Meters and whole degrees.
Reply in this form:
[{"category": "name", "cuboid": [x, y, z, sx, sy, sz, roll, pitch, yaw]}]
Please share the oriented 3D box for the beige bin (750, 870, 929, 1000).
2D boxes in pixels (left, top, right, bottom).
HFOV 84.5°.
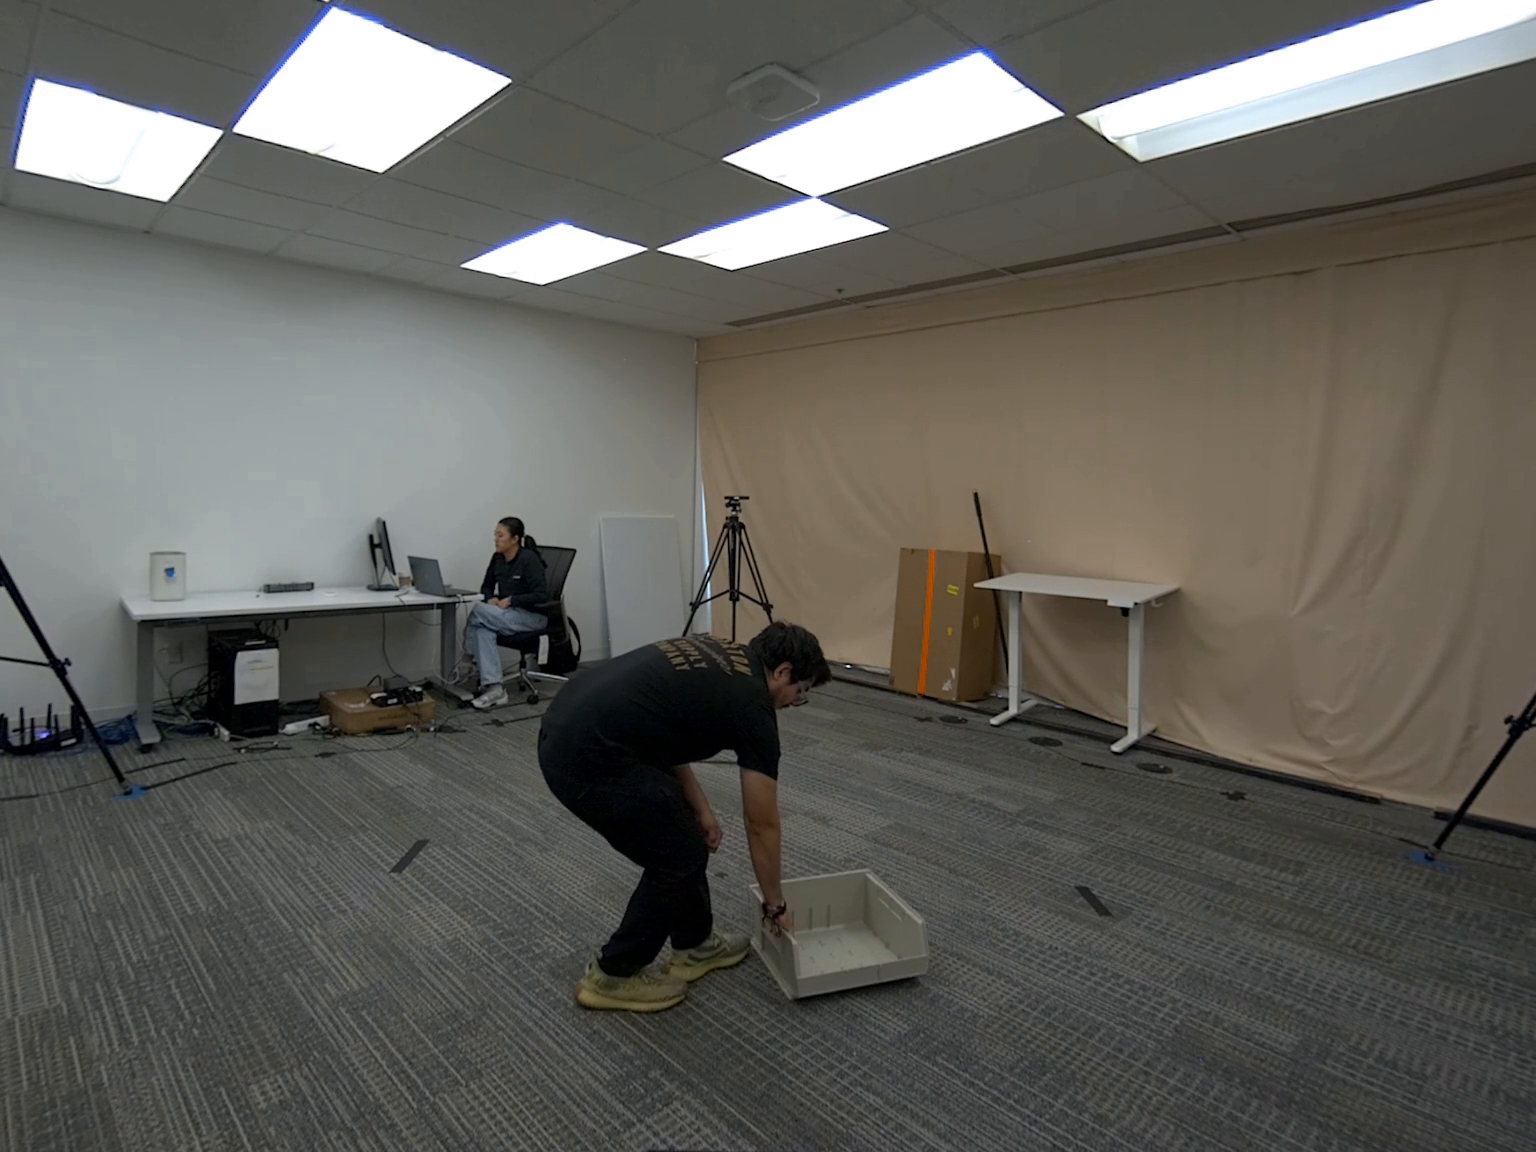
[{"category": "beige bin", "cuboid": [0.202, 1.078, 2.526, 0.416, 0.188, 0.384, -1, 5, -21]}]
